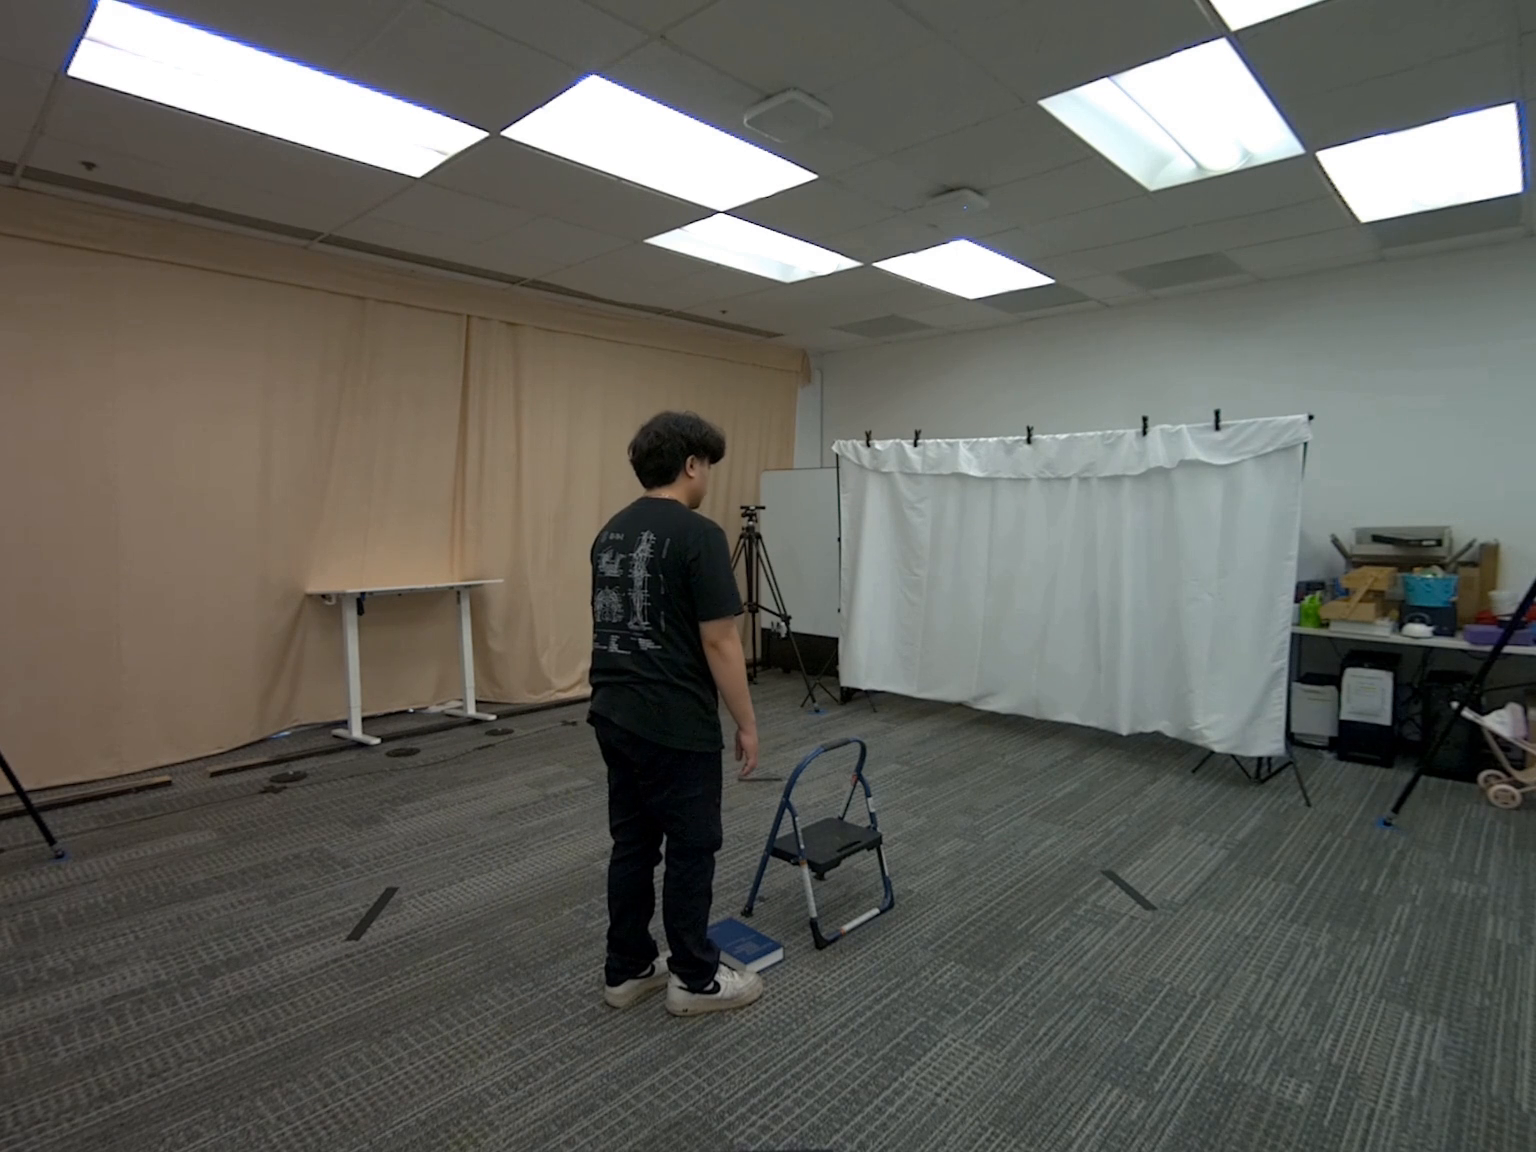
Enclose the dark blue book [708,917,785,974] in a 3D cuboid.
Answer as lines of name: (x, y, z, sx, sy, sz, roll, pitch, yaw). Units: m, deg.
dark blue book: (-0.089, 1.158, 2.616, 0.158, 0.045, 0.253, -4, 7, -43)
